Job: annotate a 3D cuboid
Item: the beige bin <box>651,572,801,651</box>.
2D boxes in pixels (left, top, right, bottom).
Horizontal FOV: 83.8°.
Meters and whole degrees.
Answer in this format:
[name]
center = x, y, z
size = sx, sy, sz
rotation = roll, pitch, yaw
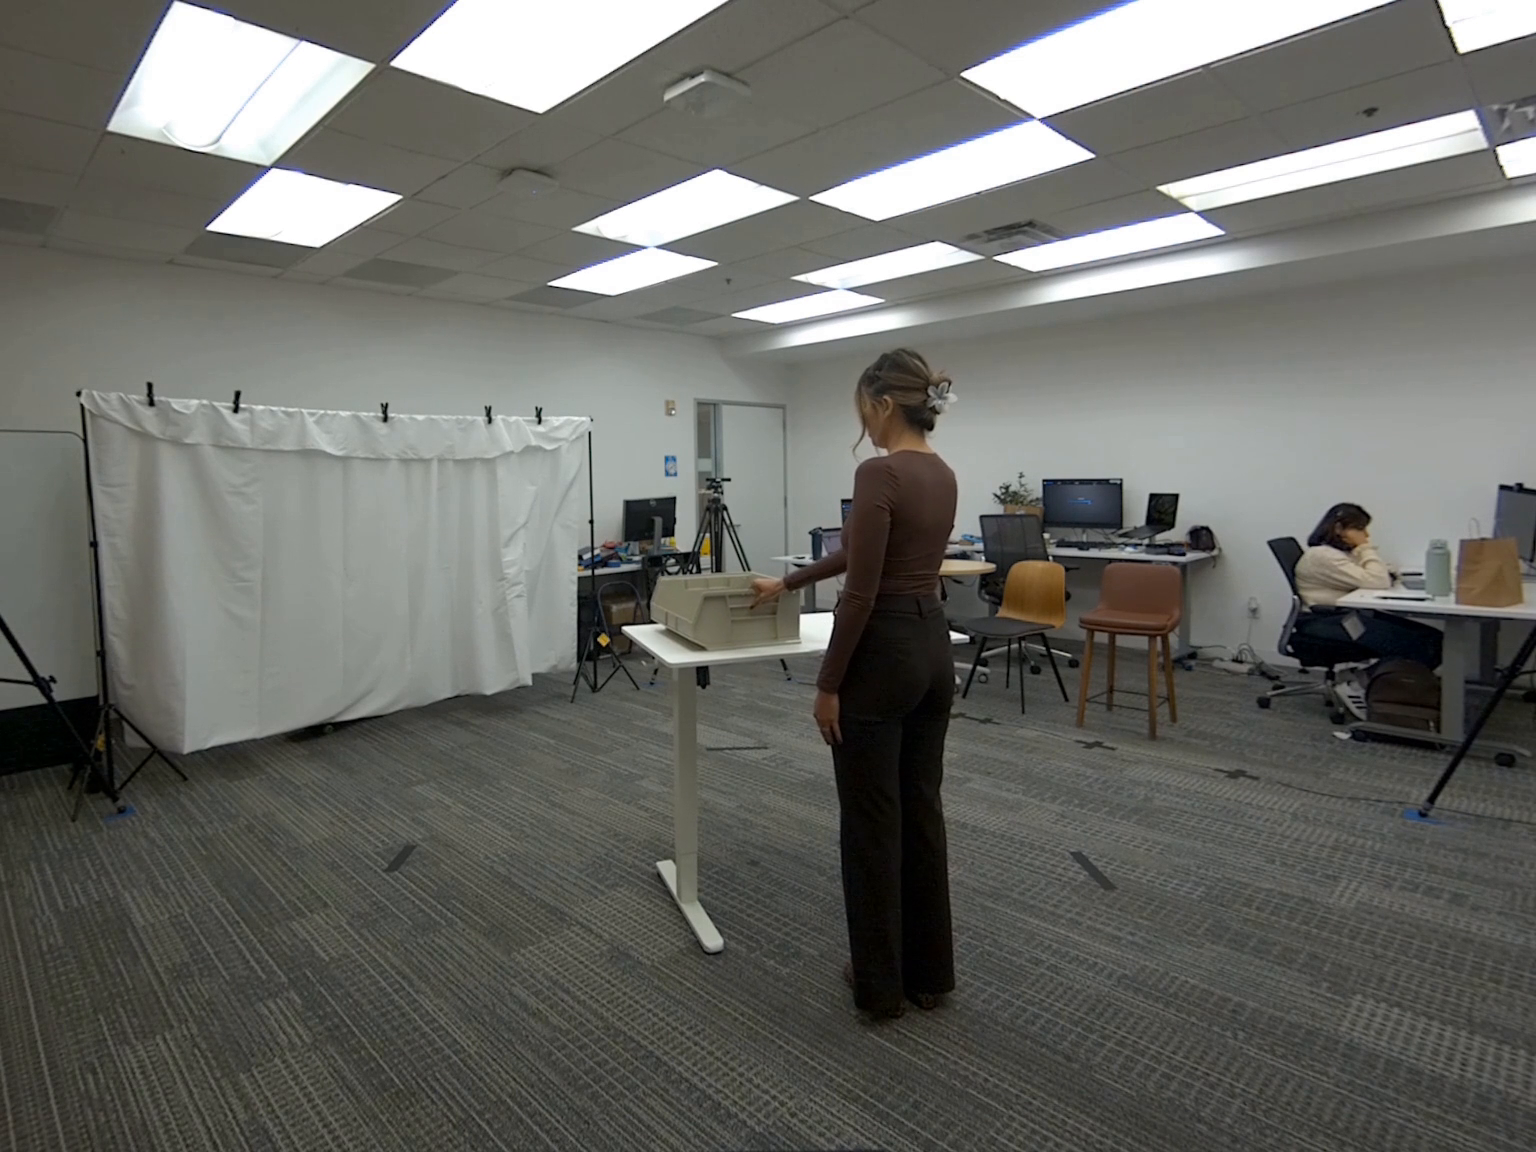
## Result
[beige bin]
center = -0.140, 0.109, 2.767
size = 0.370, 0.188, 0.433
rotation = -2, 6, -24
